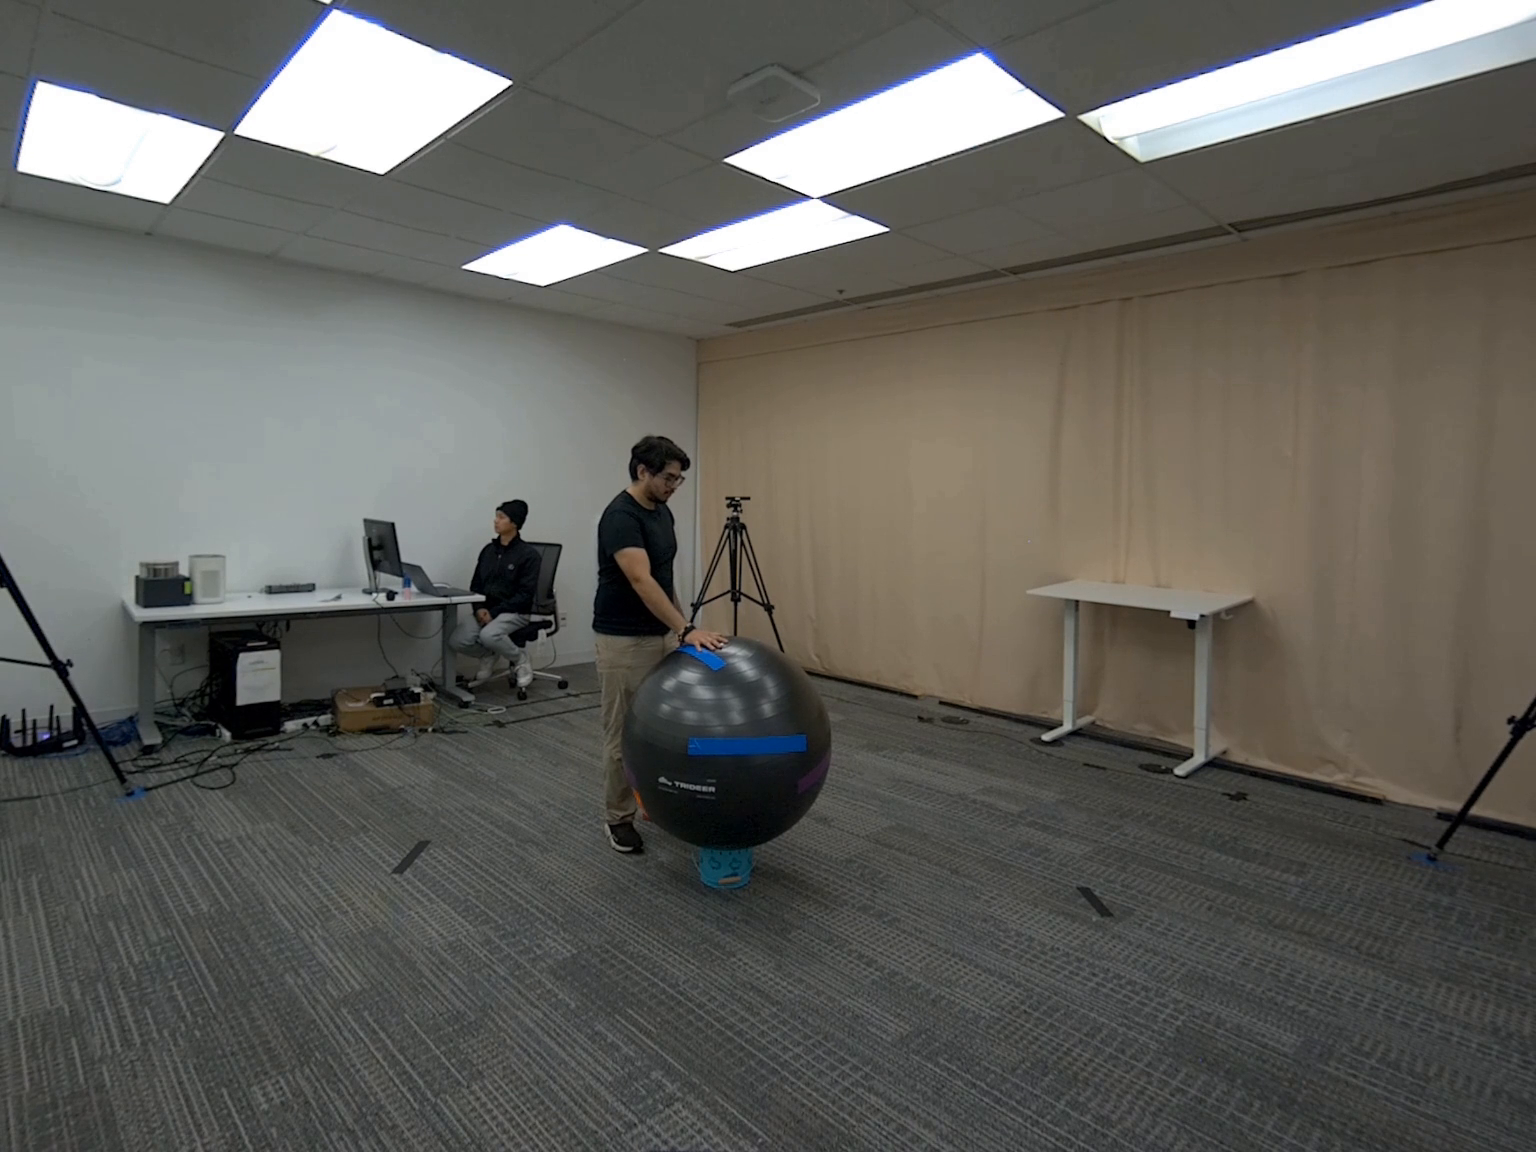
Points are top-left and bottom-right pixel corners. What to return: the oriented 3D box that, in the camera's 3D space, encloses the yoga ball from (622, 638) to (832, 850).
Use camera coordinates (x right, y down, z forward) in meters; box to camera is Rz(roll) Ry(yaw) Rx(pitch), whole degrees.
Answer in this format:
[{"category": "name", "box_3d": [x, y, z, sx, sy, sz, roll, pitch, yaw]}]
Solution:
[{"category": "yoga ball", "box_3d": [-0.153, 0.602, 3.052, 0.757, 0.756, 0.760, 1, 4, -1]}]
